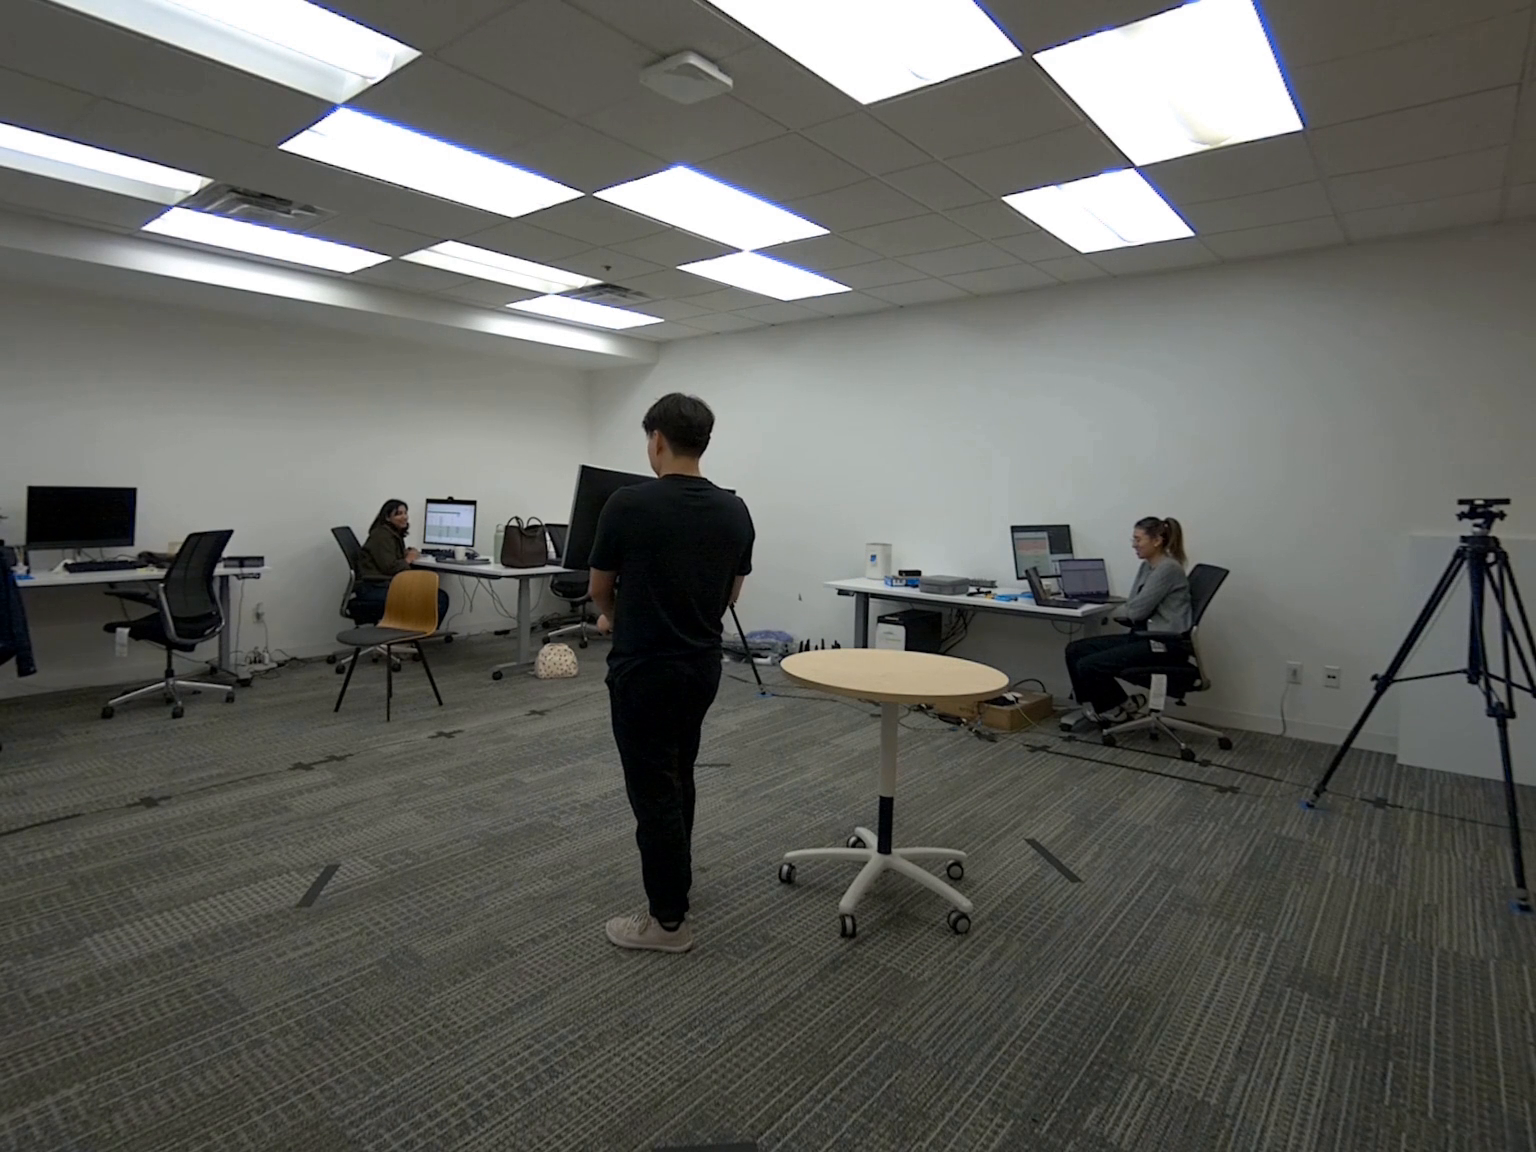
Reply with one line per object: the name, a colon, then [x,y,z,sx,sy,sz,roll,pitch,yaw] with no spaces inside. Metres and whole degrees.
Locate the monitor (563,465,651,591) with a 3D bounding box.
monitor: [-0.415,-0.078,2.907,0.526,0.523,0.192,8,-1,-23]
